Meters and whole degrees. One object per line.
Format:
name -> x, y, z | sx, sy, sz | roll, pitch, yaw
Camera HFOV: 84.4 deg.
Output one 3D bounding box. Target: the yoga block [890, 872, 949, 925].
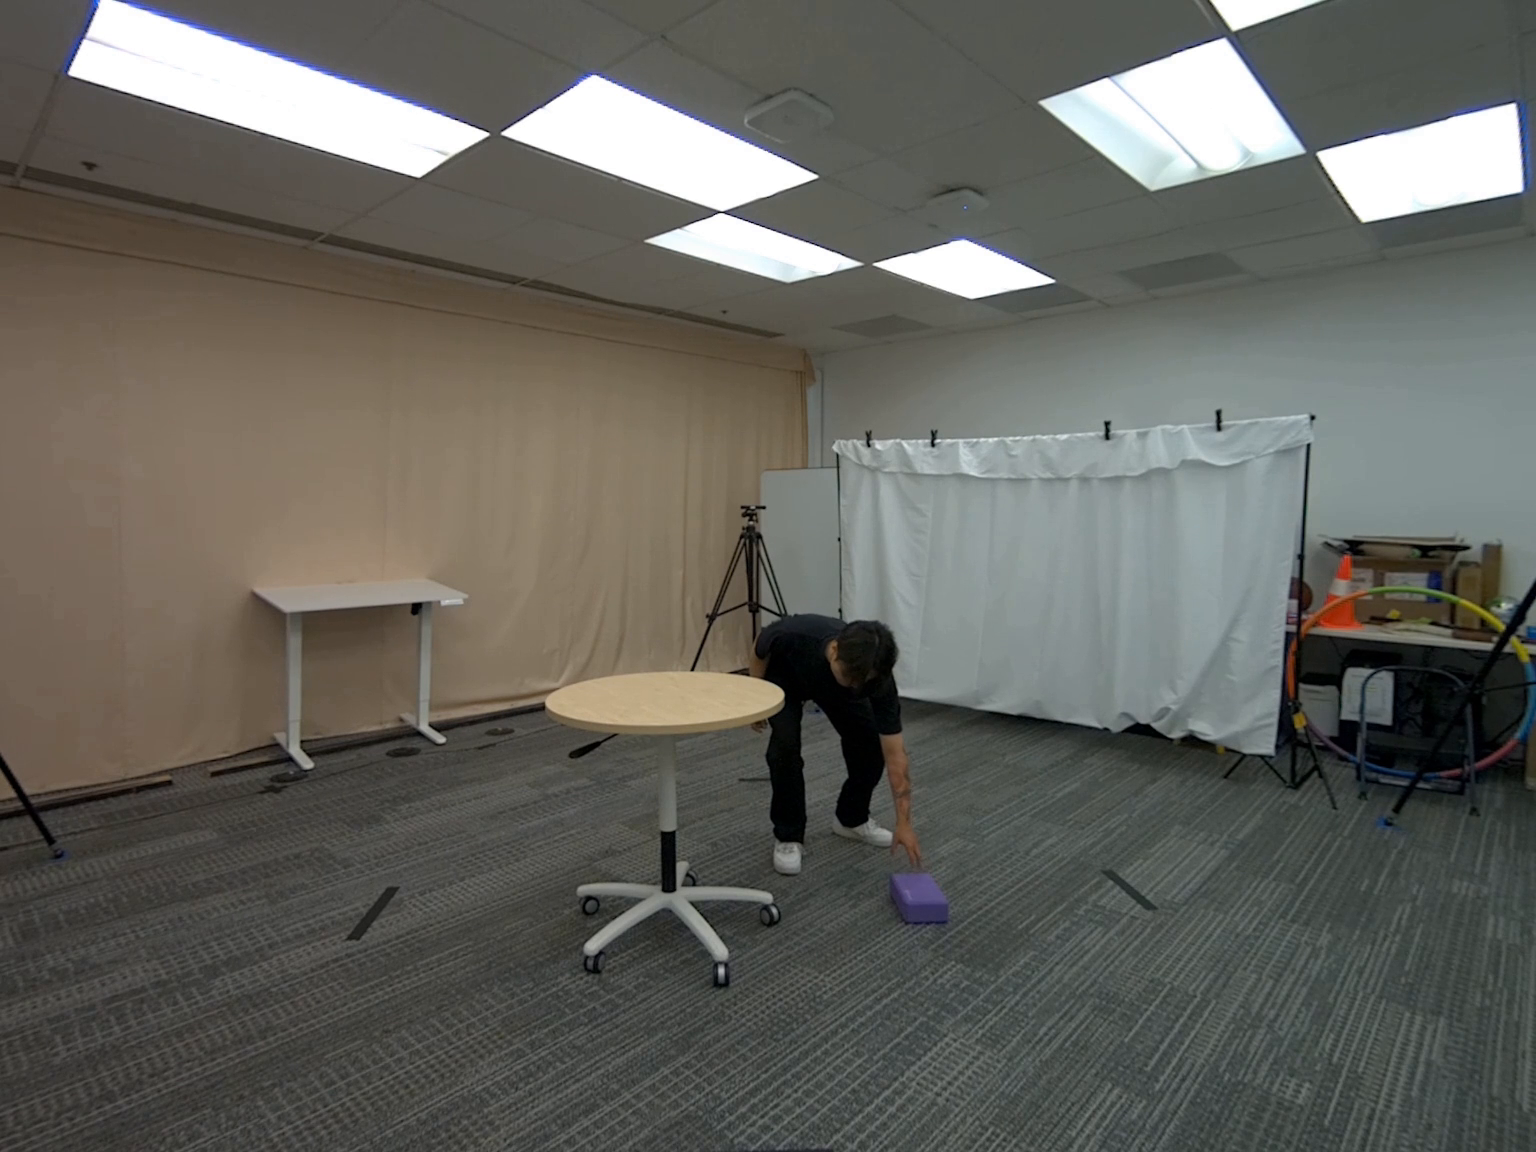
yoga block -> 0.517, 1.104, 2.907 | 0.148, 0.076, 0.231 | -2, 5, -4
